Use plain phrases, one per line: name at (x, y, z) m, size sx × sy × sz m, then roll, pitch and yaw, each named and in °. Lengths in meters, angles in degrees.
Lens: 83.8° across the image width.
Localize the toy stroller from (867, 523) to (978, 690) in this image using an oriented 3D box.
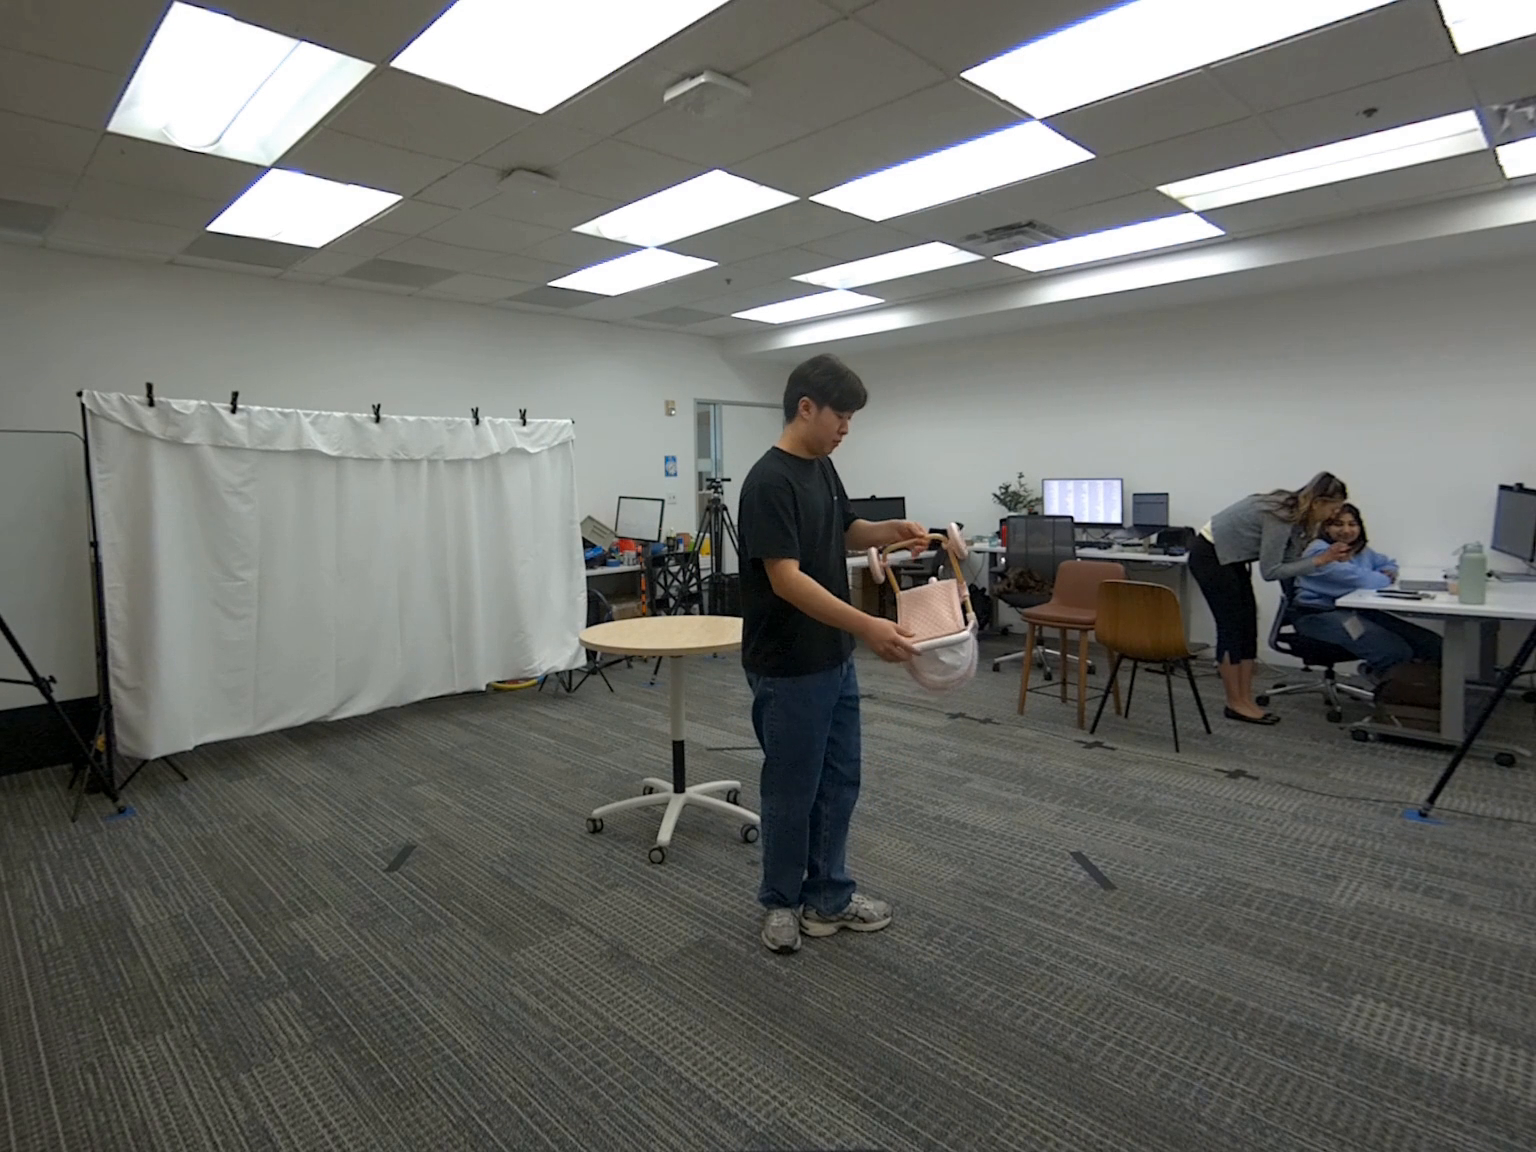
toy stroller at (0.470, 0.113, 2.462) m, size 0.284 × 0.329 × 0.548 m, roll -15°, pitch 38°, yaw 15°
